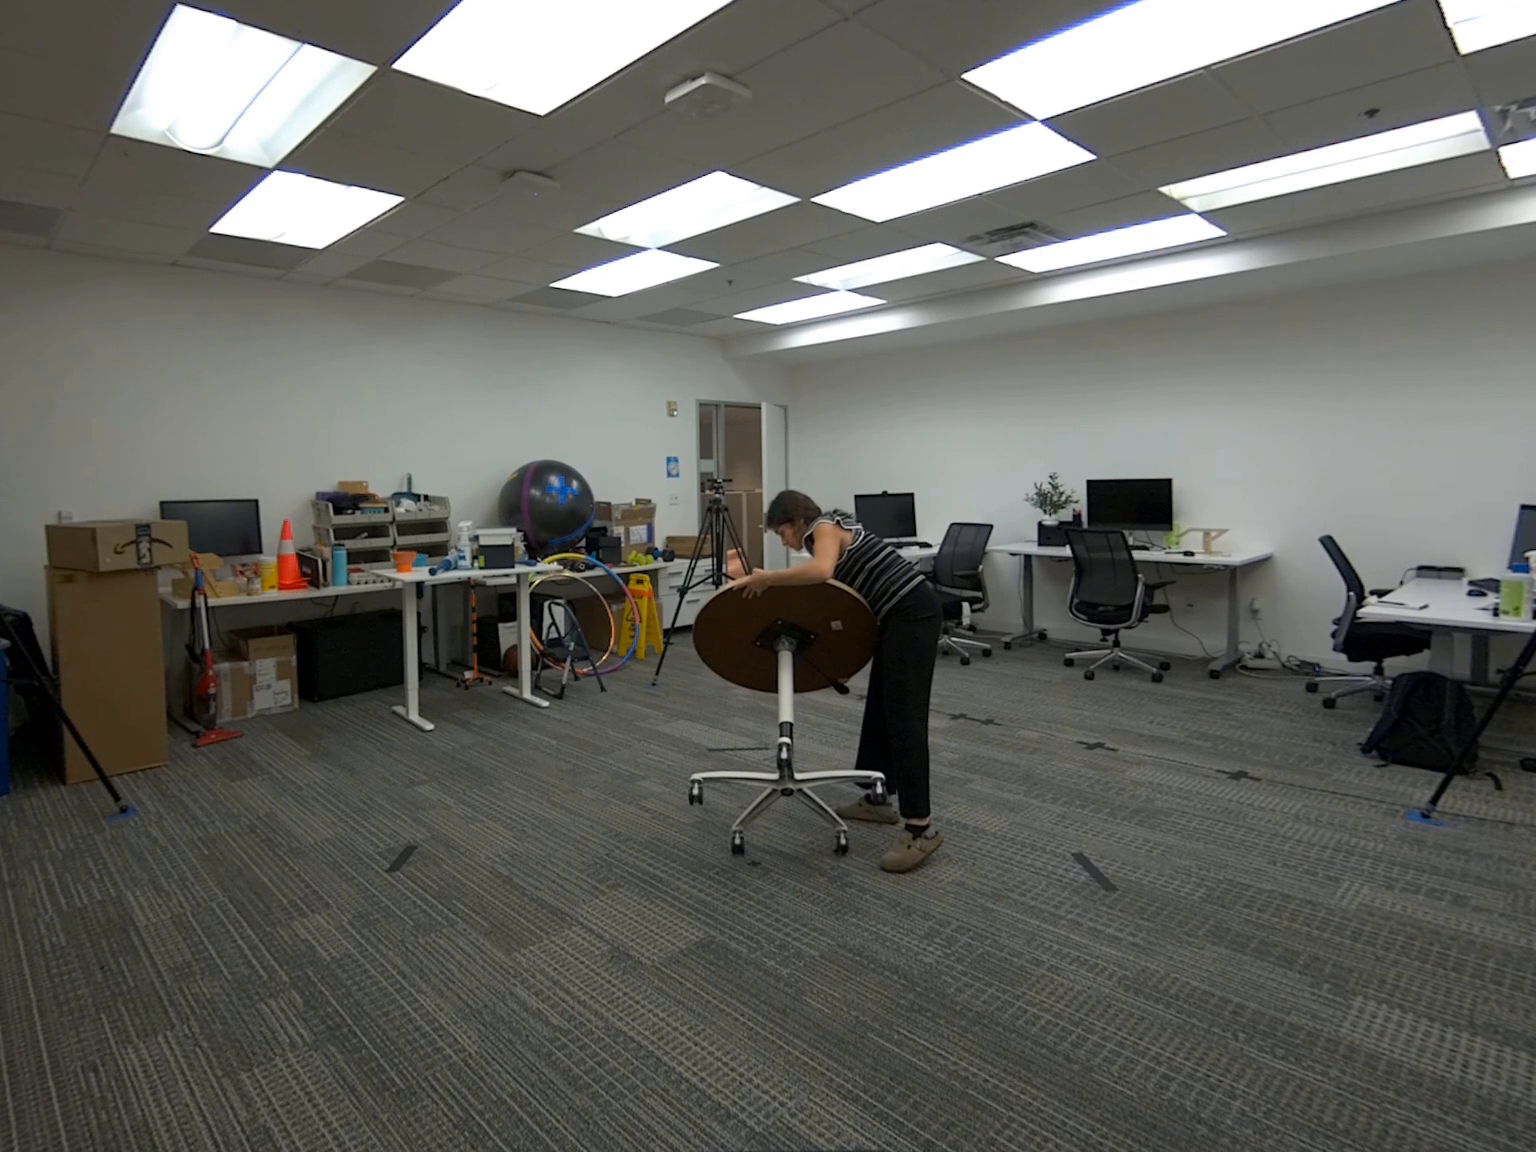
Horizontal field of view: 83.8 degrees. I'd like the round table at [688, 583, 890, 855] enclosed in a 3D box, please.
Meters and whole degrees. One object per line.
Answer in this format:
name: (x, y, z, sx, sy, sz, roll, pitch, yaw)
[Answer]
round table: (0.080, 0.528, 3.236, 0.787, 0.763, 0.807, -1, 46, 1)
